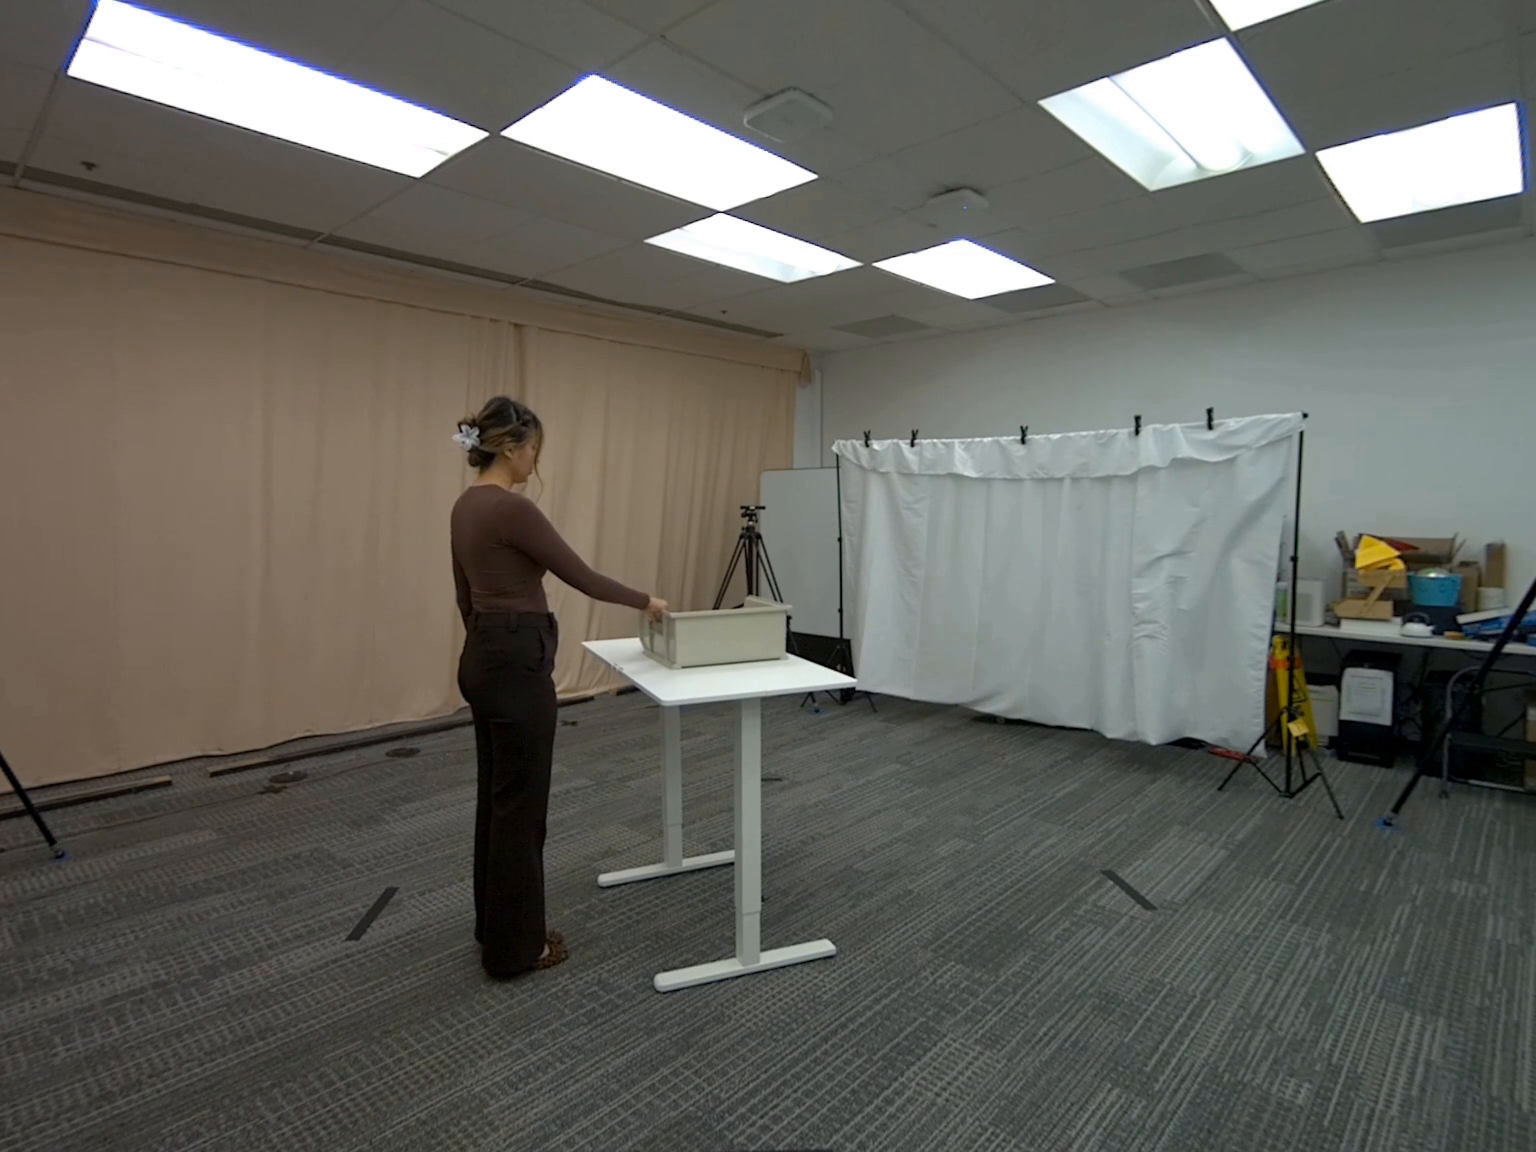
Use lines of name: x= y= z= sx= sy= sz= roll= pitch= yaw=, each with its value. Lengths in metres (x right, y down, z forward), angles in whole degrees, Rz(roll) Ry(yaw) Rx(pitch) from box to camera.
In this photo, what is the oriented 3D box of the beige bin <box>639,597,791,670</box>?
beige bin: x=-0.191 y=0.182 z=2.863 sx=0.413 sy=0.188 sz=0.387 roll=-2 pitch=6 yaw=-24
